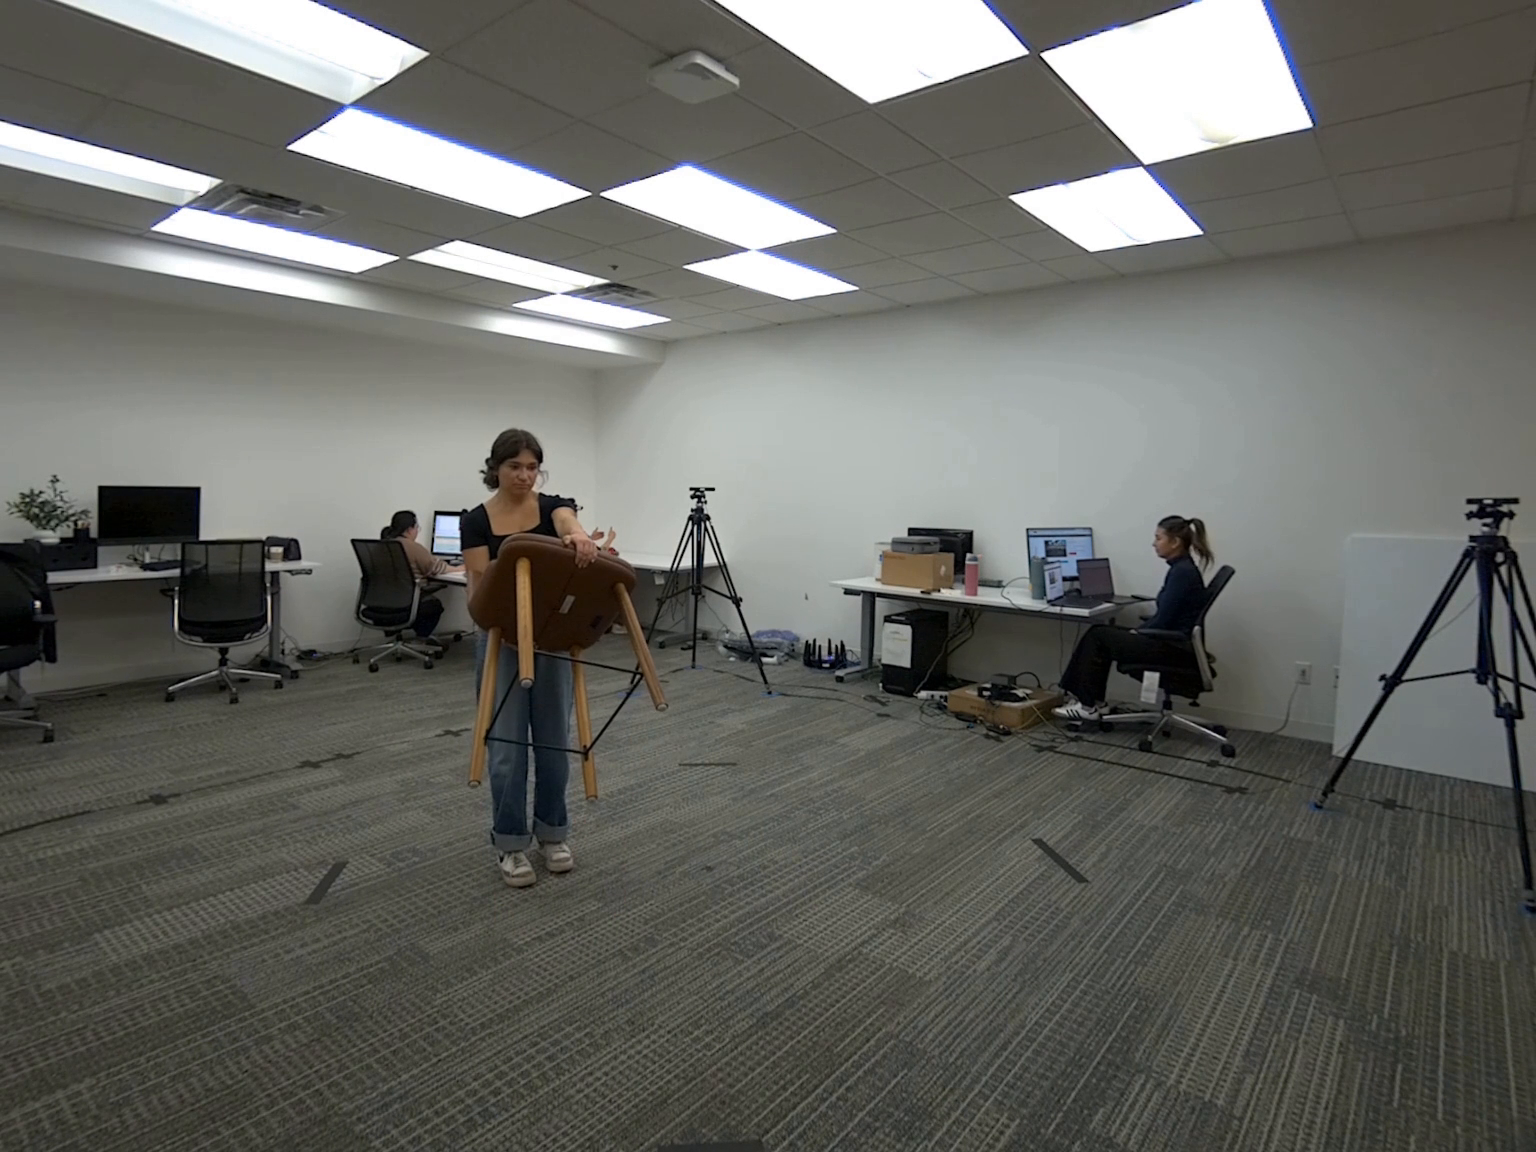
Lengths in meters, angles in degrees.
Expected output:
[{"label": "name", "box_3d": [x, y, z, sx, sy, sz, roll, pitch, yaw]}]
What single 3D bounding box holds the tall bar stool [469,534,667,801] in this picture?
[{"label": "tall bar stool", "box_3d": [-0.656, 0.175, 2.598, 0.442, 0.465, 0.924, 16, 32, -29]}]
